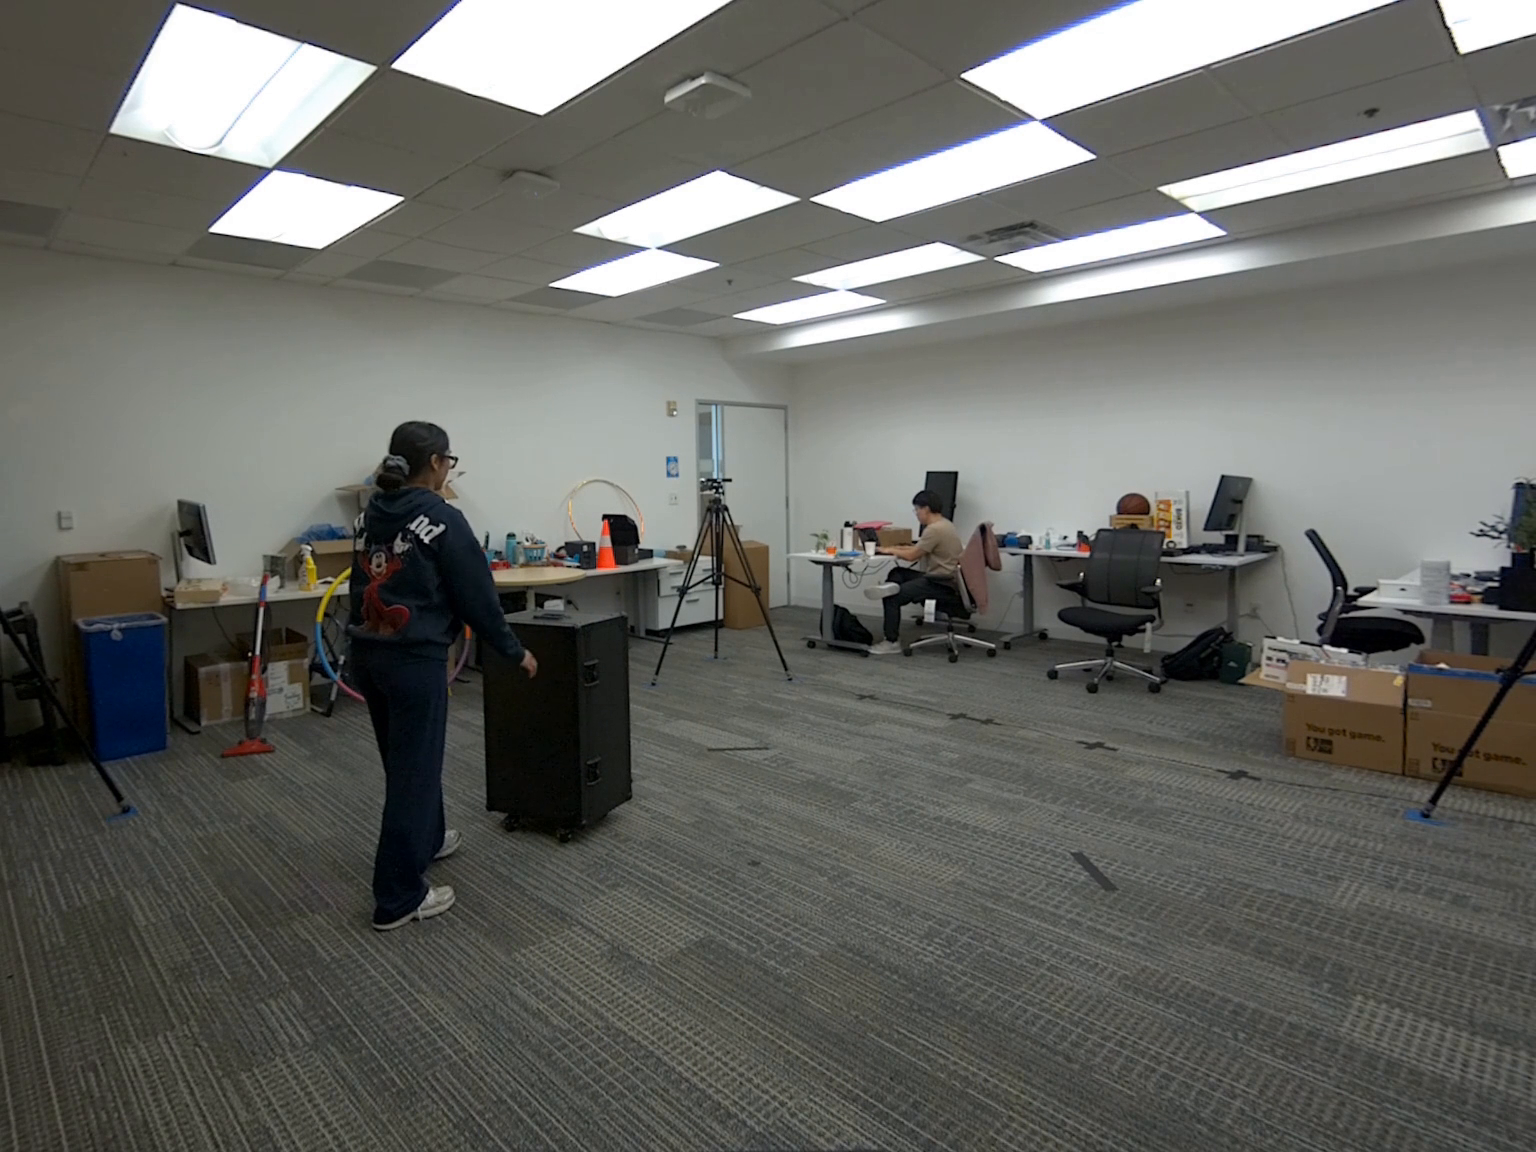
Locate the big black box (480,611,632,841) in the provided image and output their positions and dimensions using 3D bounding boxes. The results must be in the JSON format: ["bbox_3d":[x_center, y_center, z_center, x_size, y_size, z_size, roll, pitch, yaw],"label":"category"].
[{"bbox_3d":[-0.862,0.587,3.524,0.534,0.860,0.387,1,3,27],"label":"big black box"}]
